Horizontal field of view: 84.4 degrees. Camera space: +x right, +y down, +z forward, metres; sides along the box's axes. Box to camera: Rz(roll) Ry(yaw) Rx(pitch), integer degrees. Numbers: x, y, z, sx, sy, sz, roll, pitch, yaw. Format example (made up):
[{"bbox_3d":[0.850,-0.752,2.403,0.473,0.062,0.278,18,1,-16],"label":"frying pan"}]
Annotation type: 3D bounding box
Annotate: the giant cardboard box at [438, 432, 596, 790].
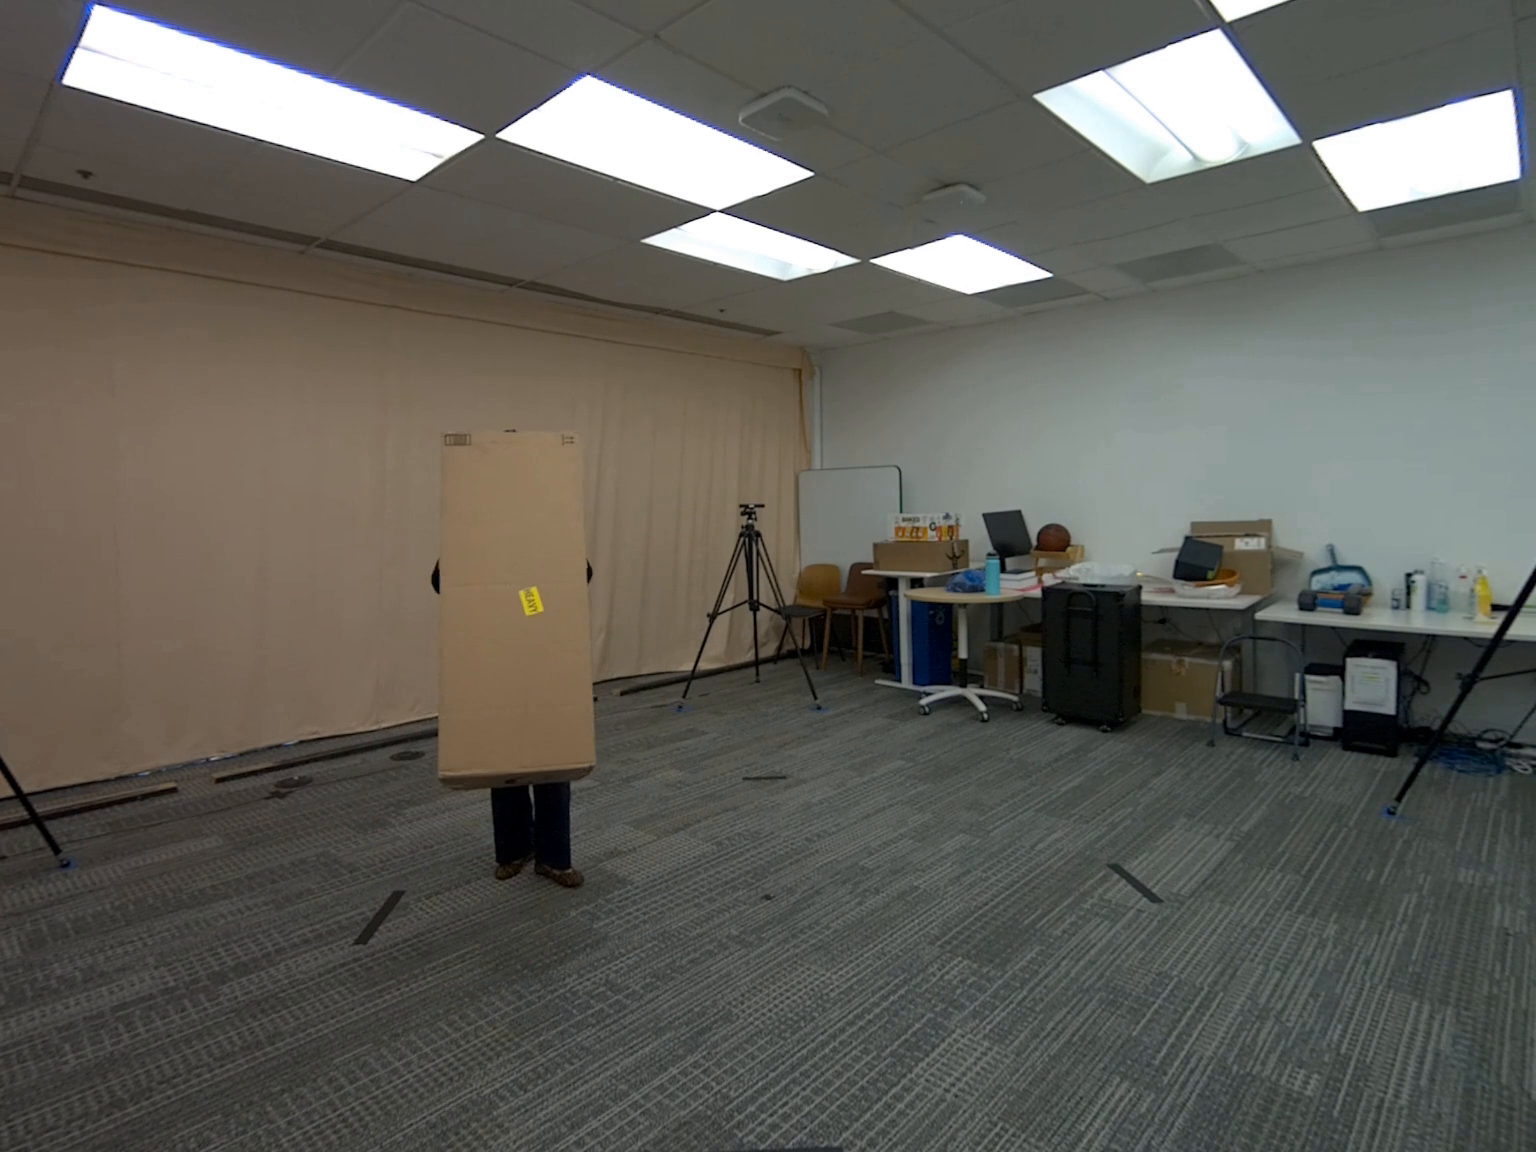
[{"bbox_3d":[-0.803,0.134,2.697,0.420,1.039,0.579,-2,-18,-15],"label":"giant cardboard box"}]
